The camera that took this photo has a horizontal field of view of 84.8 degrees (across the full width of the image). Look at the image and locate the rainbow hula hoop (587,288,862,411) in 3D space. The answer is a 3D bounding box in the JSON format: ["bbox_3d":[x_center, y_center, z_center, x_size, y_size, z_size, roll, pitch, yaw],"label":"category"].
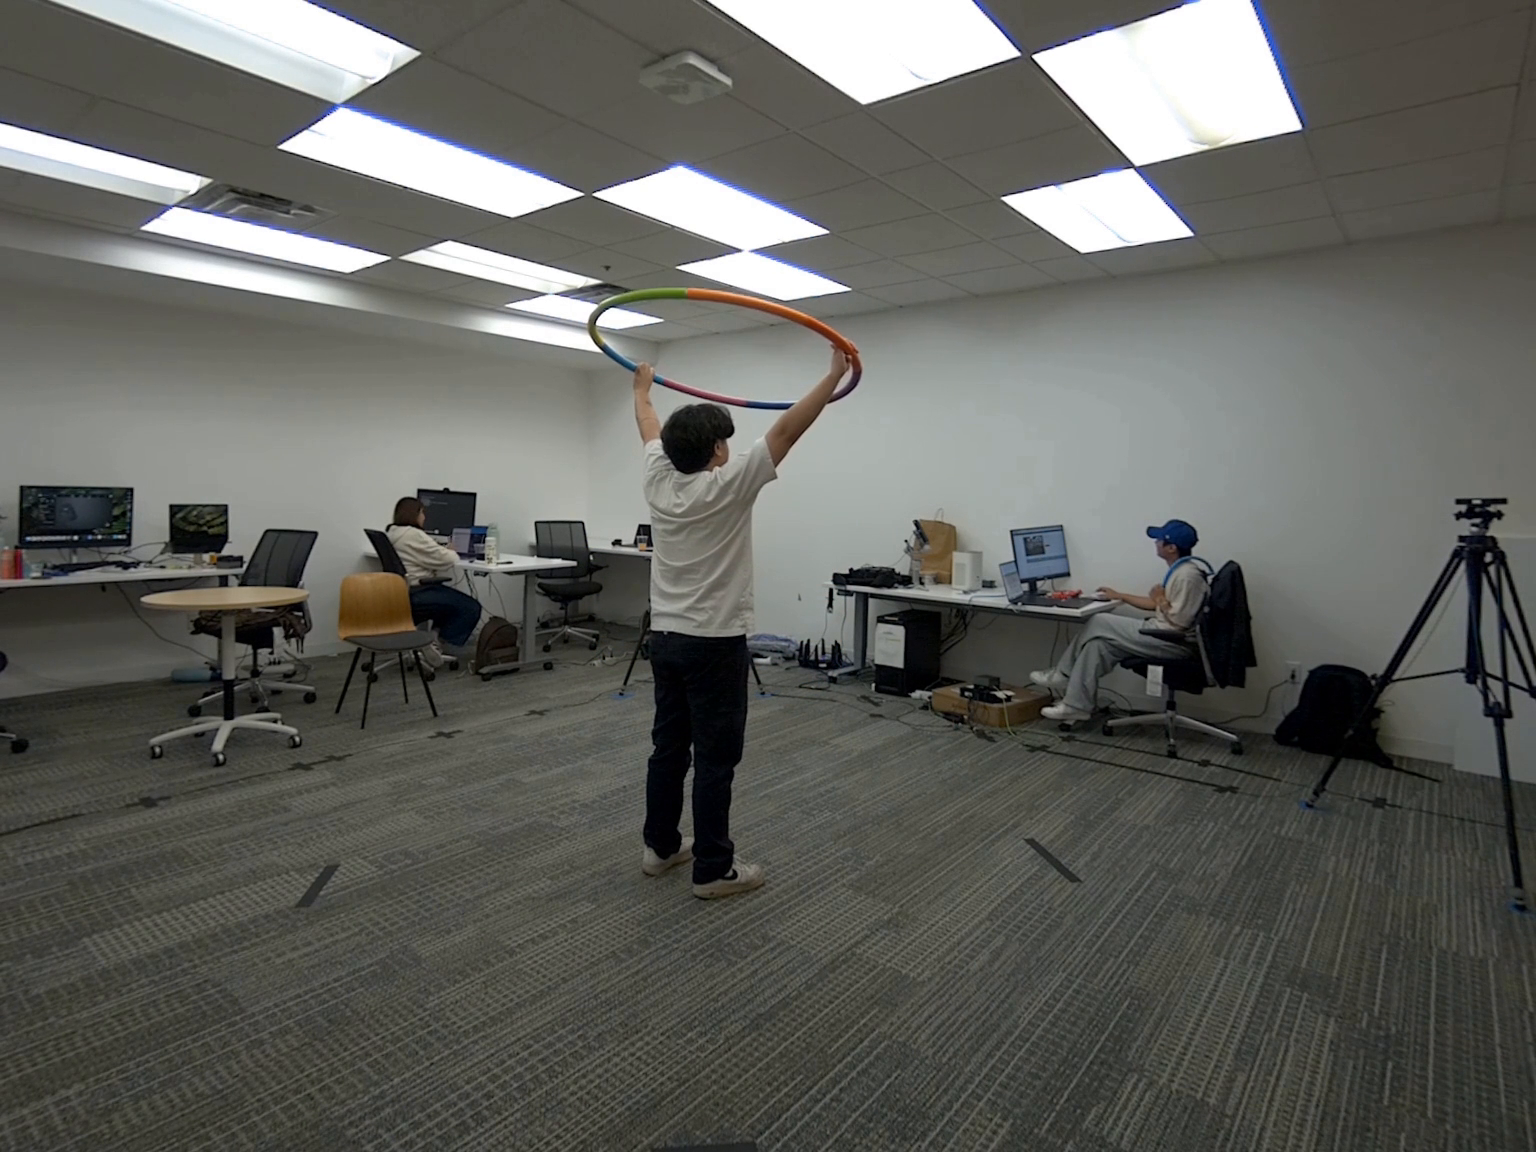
[{"bbox_3d":[-0.182,-0.792,3.035,0.987,0.052,0.979,11,-7,0],"label":"rainbow hula hoop"}]
